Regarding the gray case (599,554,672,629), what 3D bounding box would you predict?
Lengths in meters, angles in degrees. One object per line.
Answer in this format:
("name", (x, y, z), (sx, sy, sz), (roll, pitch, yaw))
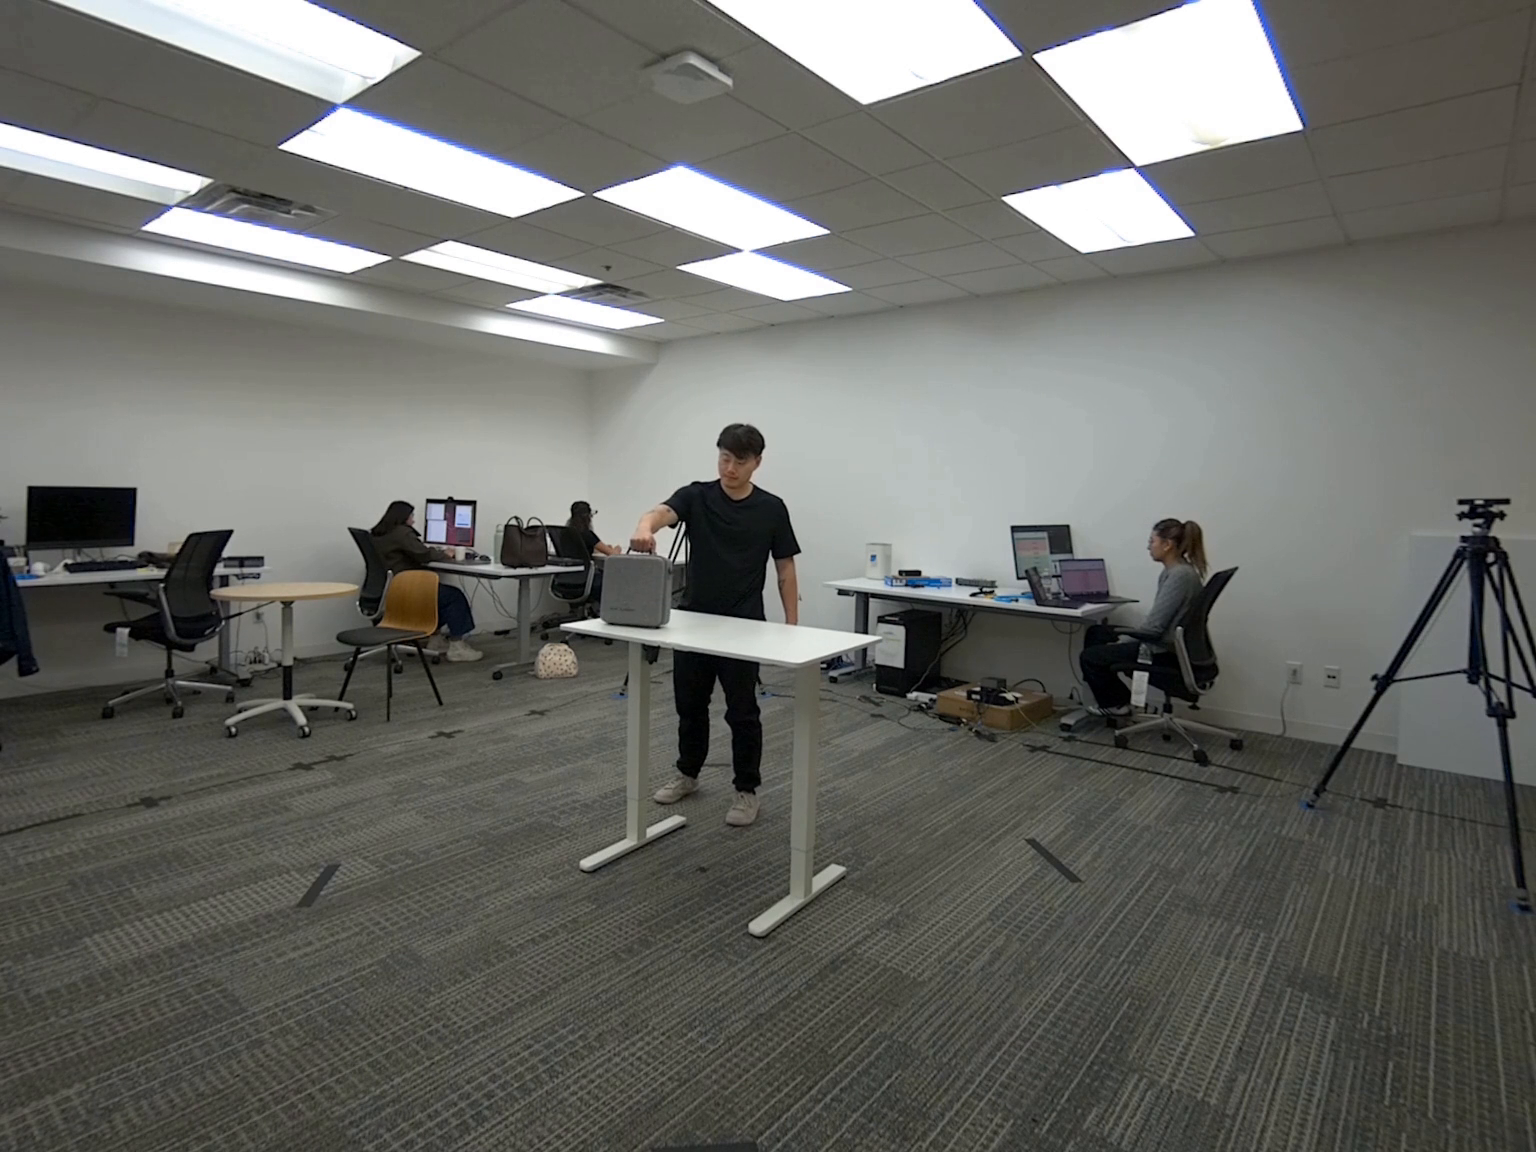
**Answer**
("gray case", (-0.493, 0.045, 3.136), (0.263, 0.261, 0.101), (3, -3, 23))
